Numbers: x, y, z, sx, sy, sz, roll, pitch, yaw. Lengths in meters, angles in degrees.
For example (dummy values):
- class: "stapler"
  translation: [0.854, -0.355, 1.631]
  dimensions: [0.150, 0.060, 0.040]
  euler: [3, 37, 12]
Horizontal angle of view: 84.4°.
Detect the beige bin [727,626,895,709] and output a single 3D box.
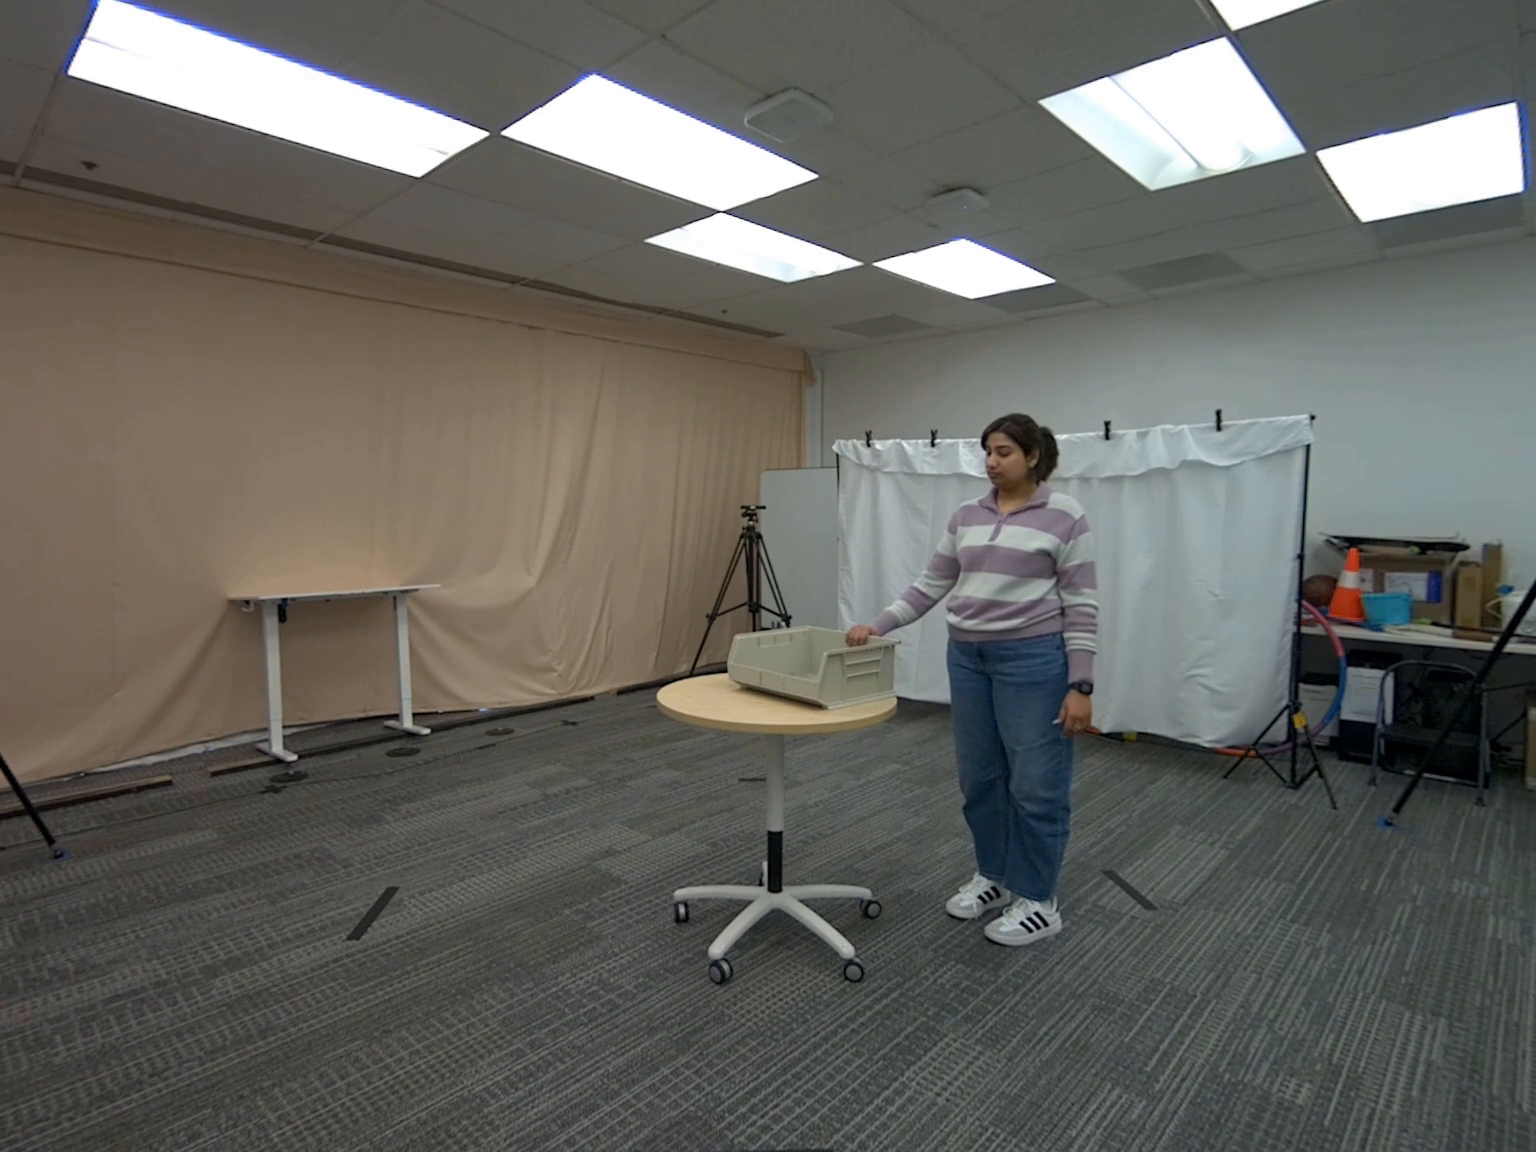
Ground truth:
- class: "beige bin"
  translation: [0.150, 0.298, 2.738]
  dimensions: [0.365, 0.189, 0.436]
  euler: [-2, 4, -41]
